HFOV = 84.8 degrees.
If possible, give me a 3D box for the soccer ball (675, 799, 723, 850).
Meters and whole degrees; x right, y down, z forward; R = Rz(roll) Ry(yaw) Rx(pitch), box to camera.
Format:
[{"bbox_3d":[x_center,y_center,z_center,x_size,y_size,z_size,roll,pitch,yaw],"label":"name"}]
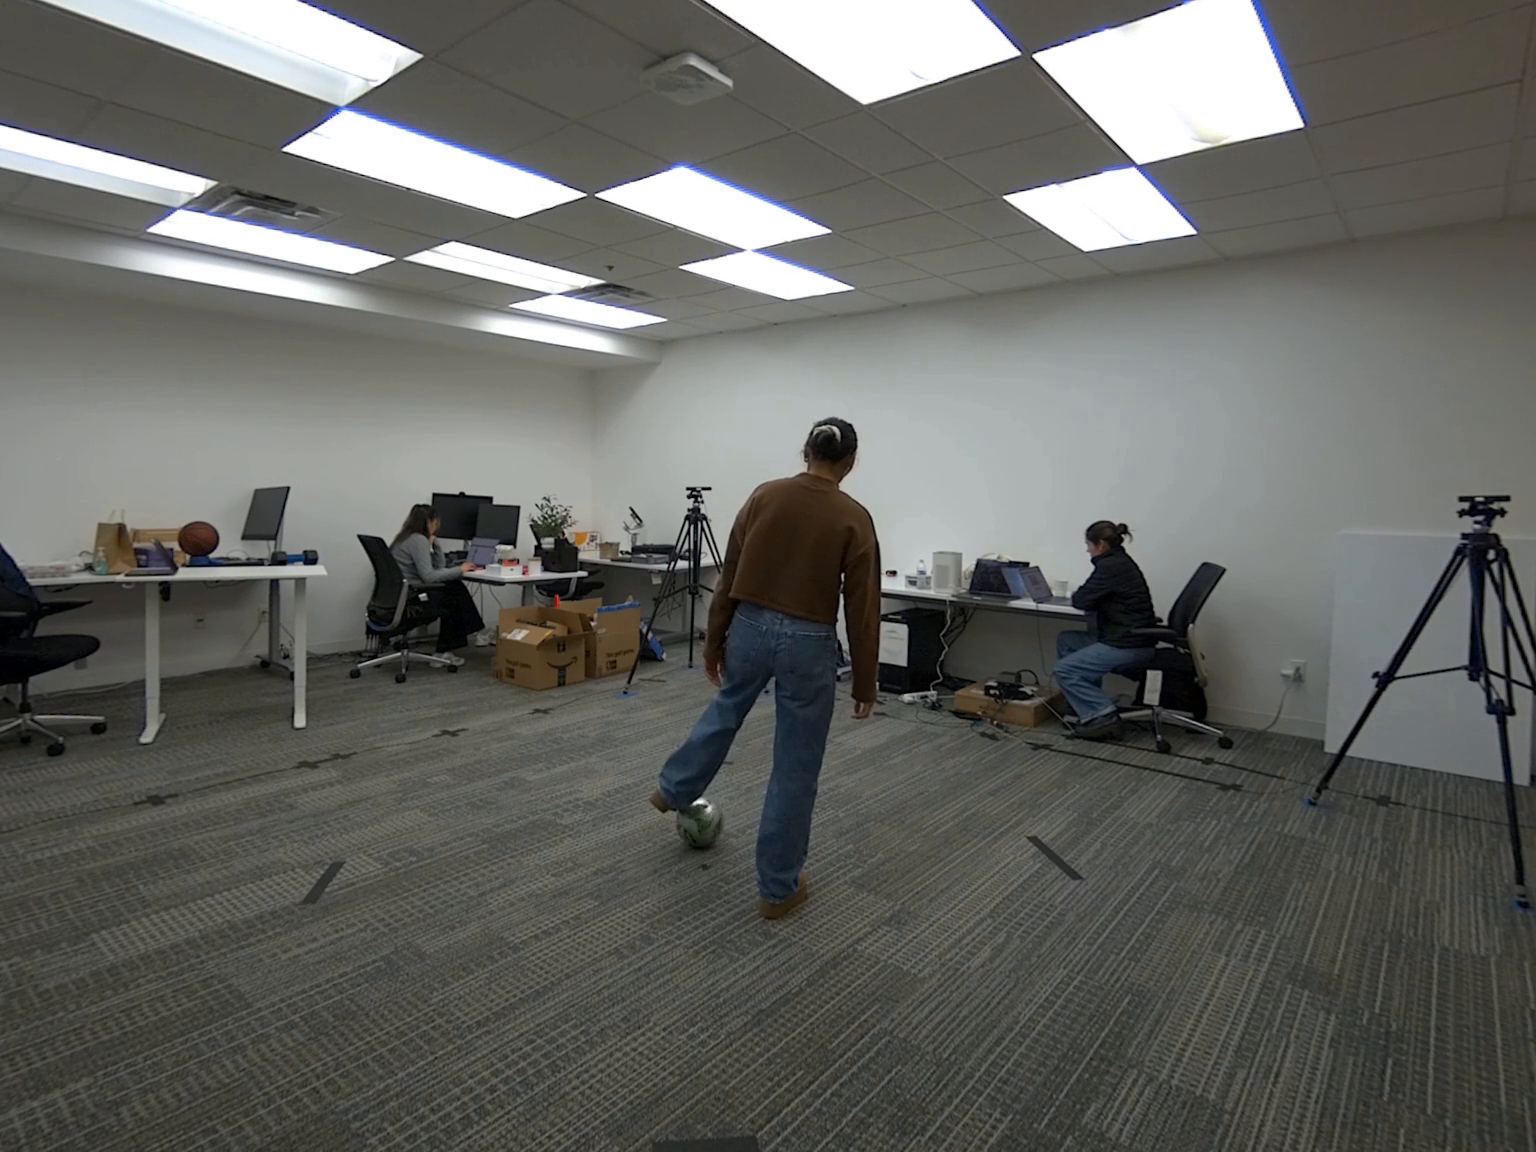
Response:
[{"bbox_3d":[-0.263,0.950,3.300,0.187,0.187,0.188,1,4,-2],"label":"soccer ball"}]
